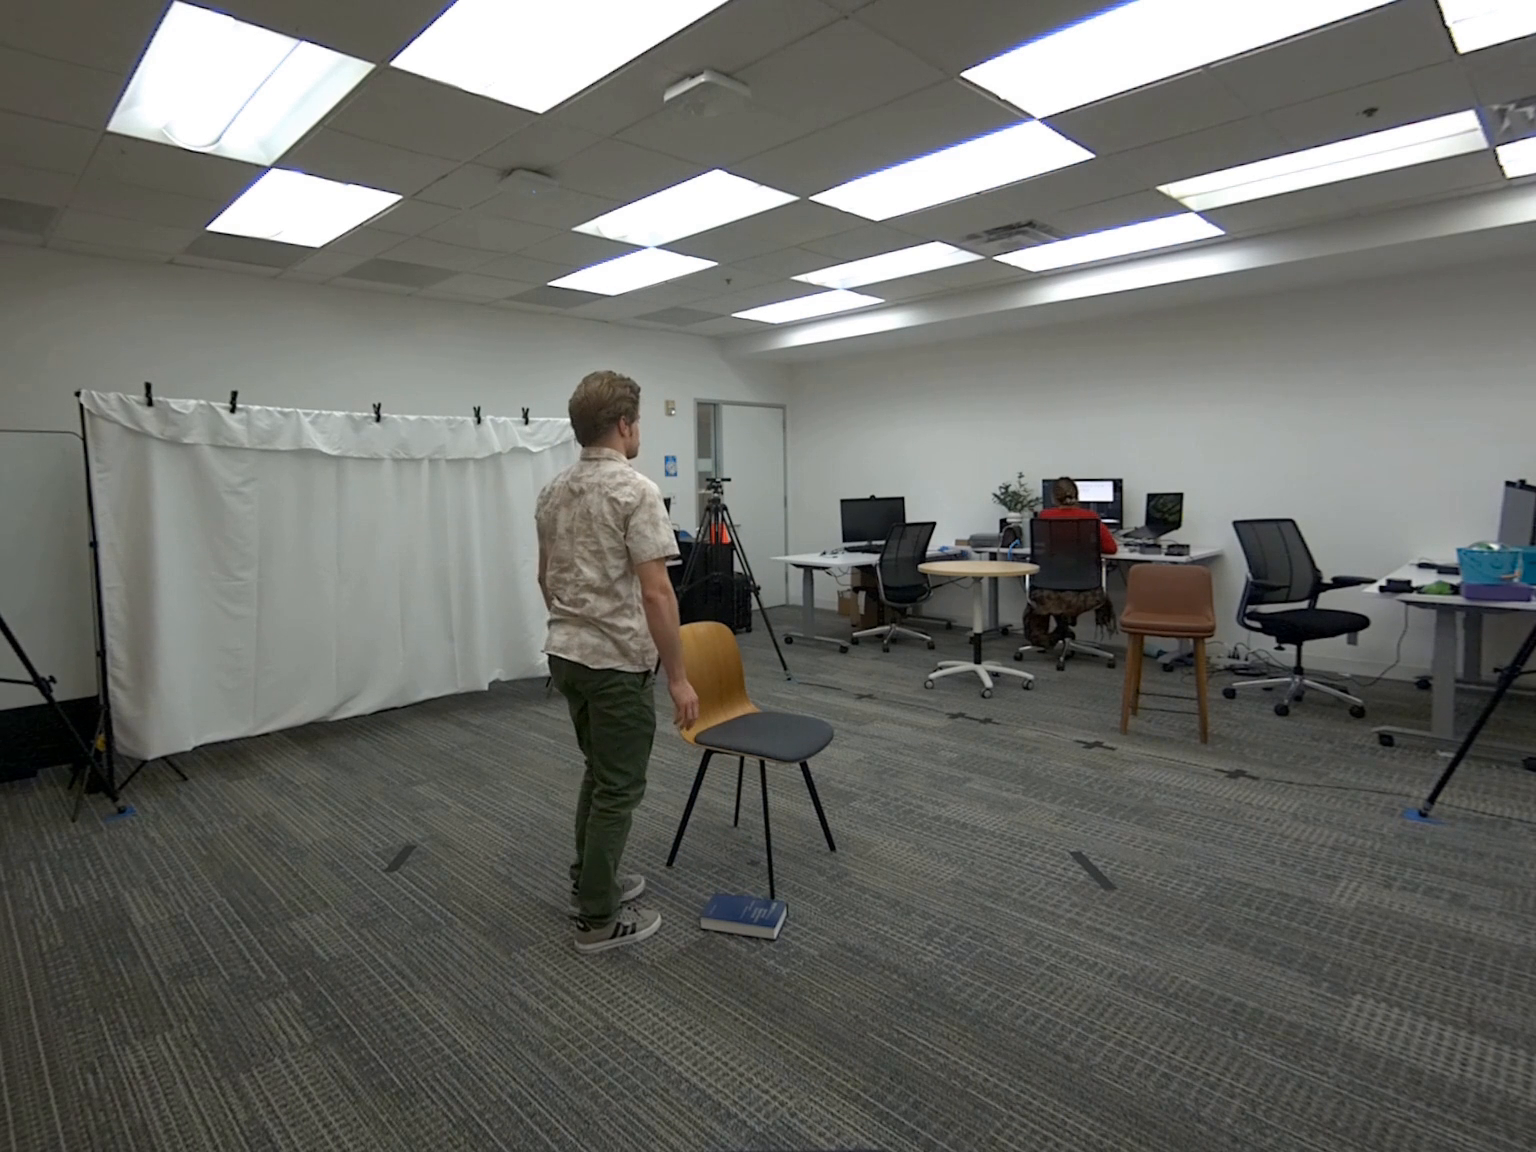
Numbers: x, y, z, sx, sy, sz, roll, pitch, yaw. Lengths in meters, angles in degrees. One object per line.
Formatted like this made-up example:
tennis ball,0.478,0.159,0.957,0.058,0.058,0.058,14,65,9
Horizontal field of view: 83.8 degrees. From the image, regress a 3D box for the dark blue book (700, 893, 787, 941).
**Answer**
dark blue book,-0.073,1.064,2.686,0.249,0.045,0.162,1,8,17
